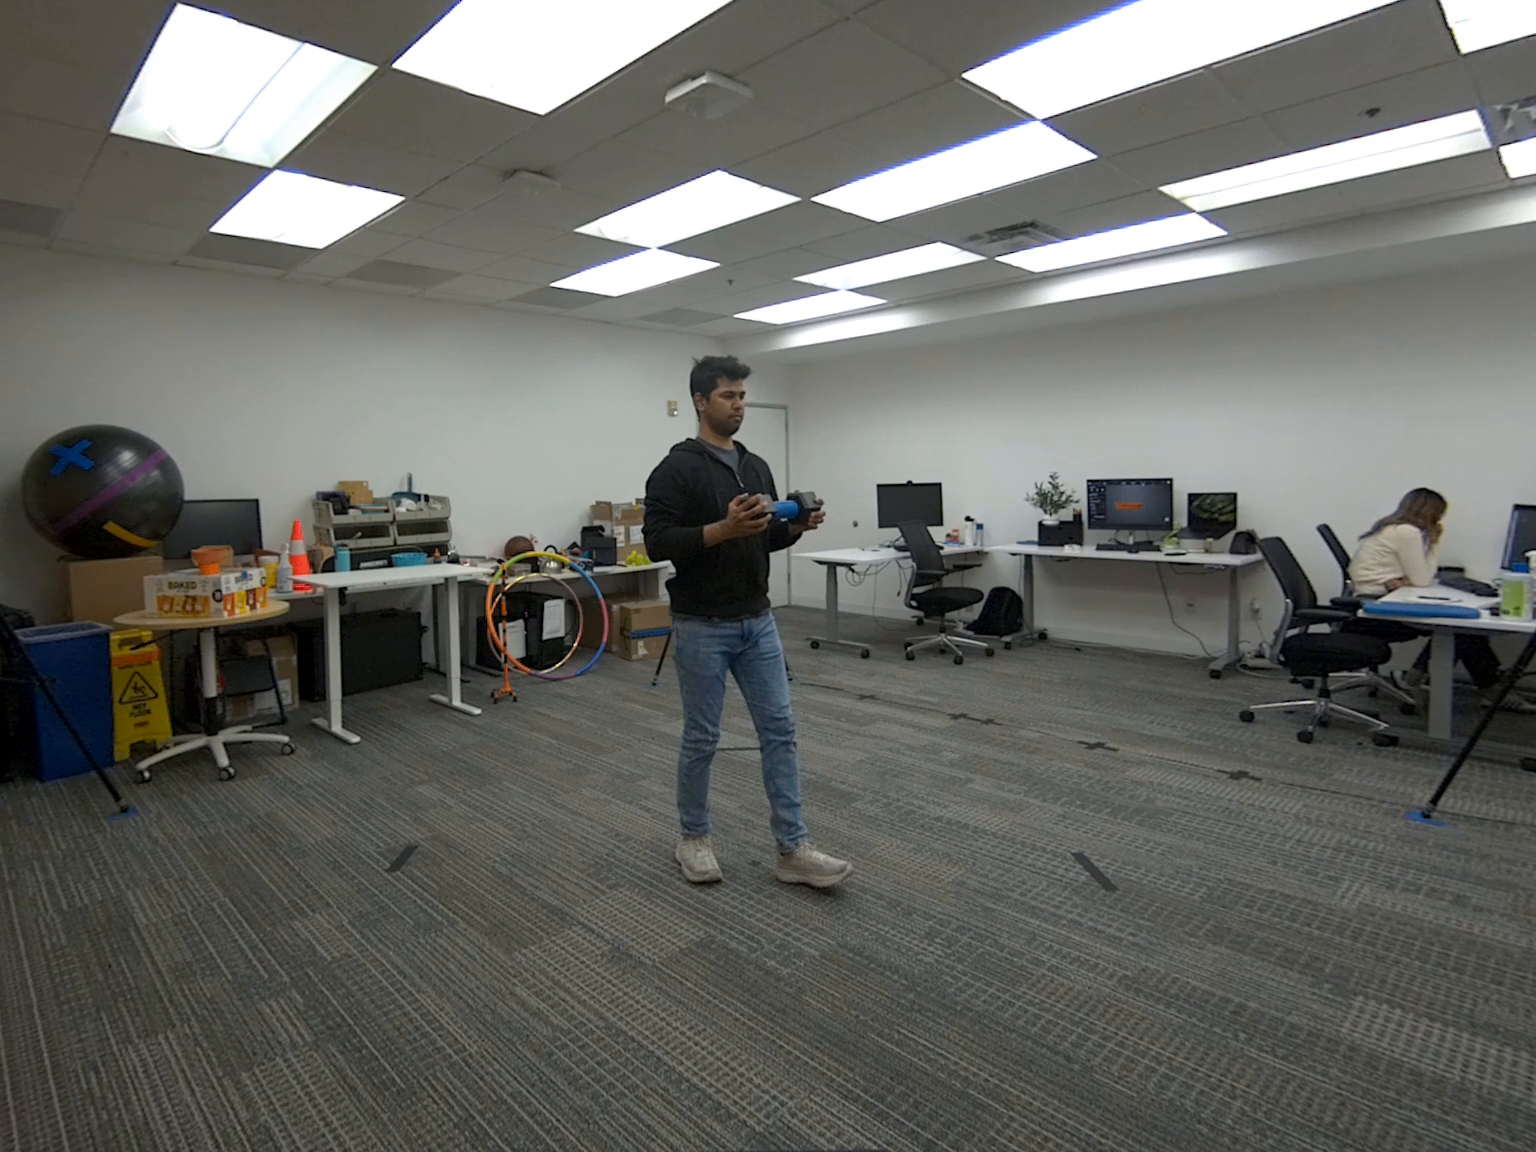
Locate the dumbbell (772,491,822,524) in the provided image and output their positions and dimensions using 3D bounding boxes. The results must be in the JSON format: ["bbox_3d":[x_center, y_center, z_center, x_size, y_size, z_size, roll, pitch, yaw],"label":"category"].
[{"bbox_3d":[0.028,-0.213,2.809,0.286,0.121,0.113,-8,37,-38],"label":"dumbbell"}]
